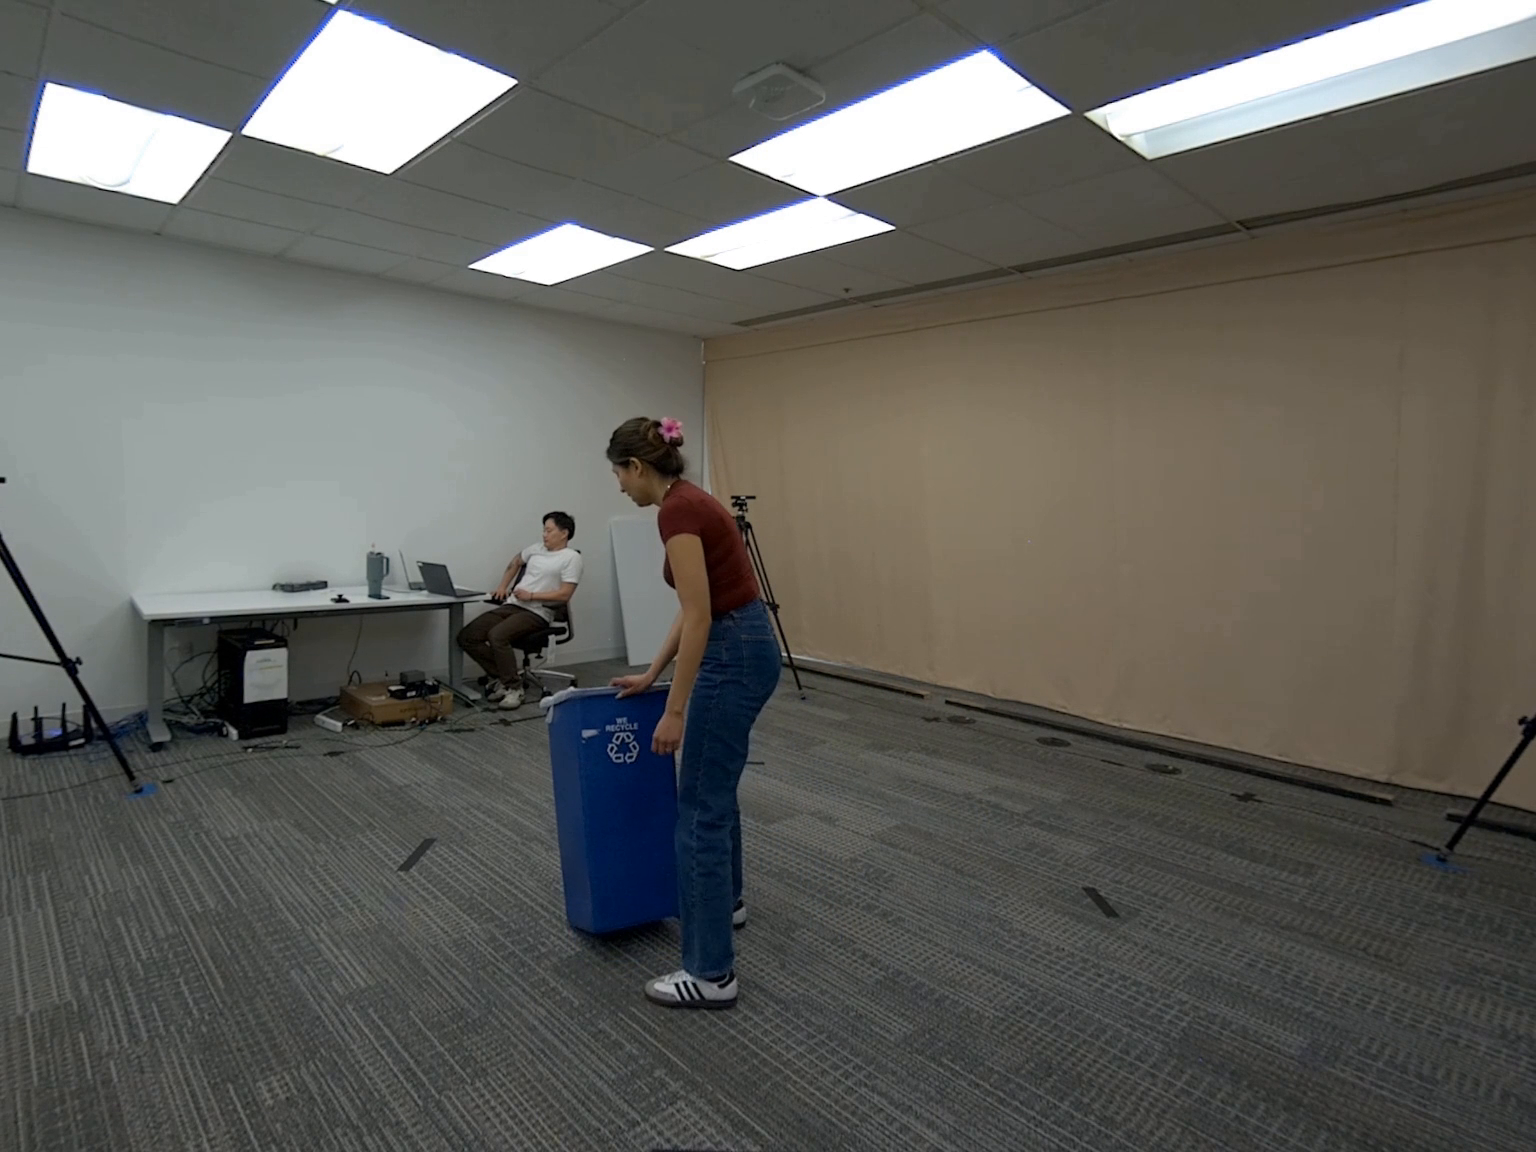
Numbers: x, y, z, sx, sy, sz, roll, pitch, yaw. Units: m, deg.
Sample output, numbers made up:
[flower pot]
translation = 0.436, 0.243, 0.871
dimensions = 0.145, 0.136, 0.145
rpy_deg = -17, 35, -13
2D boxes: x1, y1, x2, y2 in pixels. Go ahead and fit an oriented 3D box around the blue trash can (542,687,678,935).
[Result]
[blue trash can]
translation = -0.509, 0.743, 2.762
dimensions = 0.366, 0.721, 0.382
rpy_deg = -1, -14, -30
